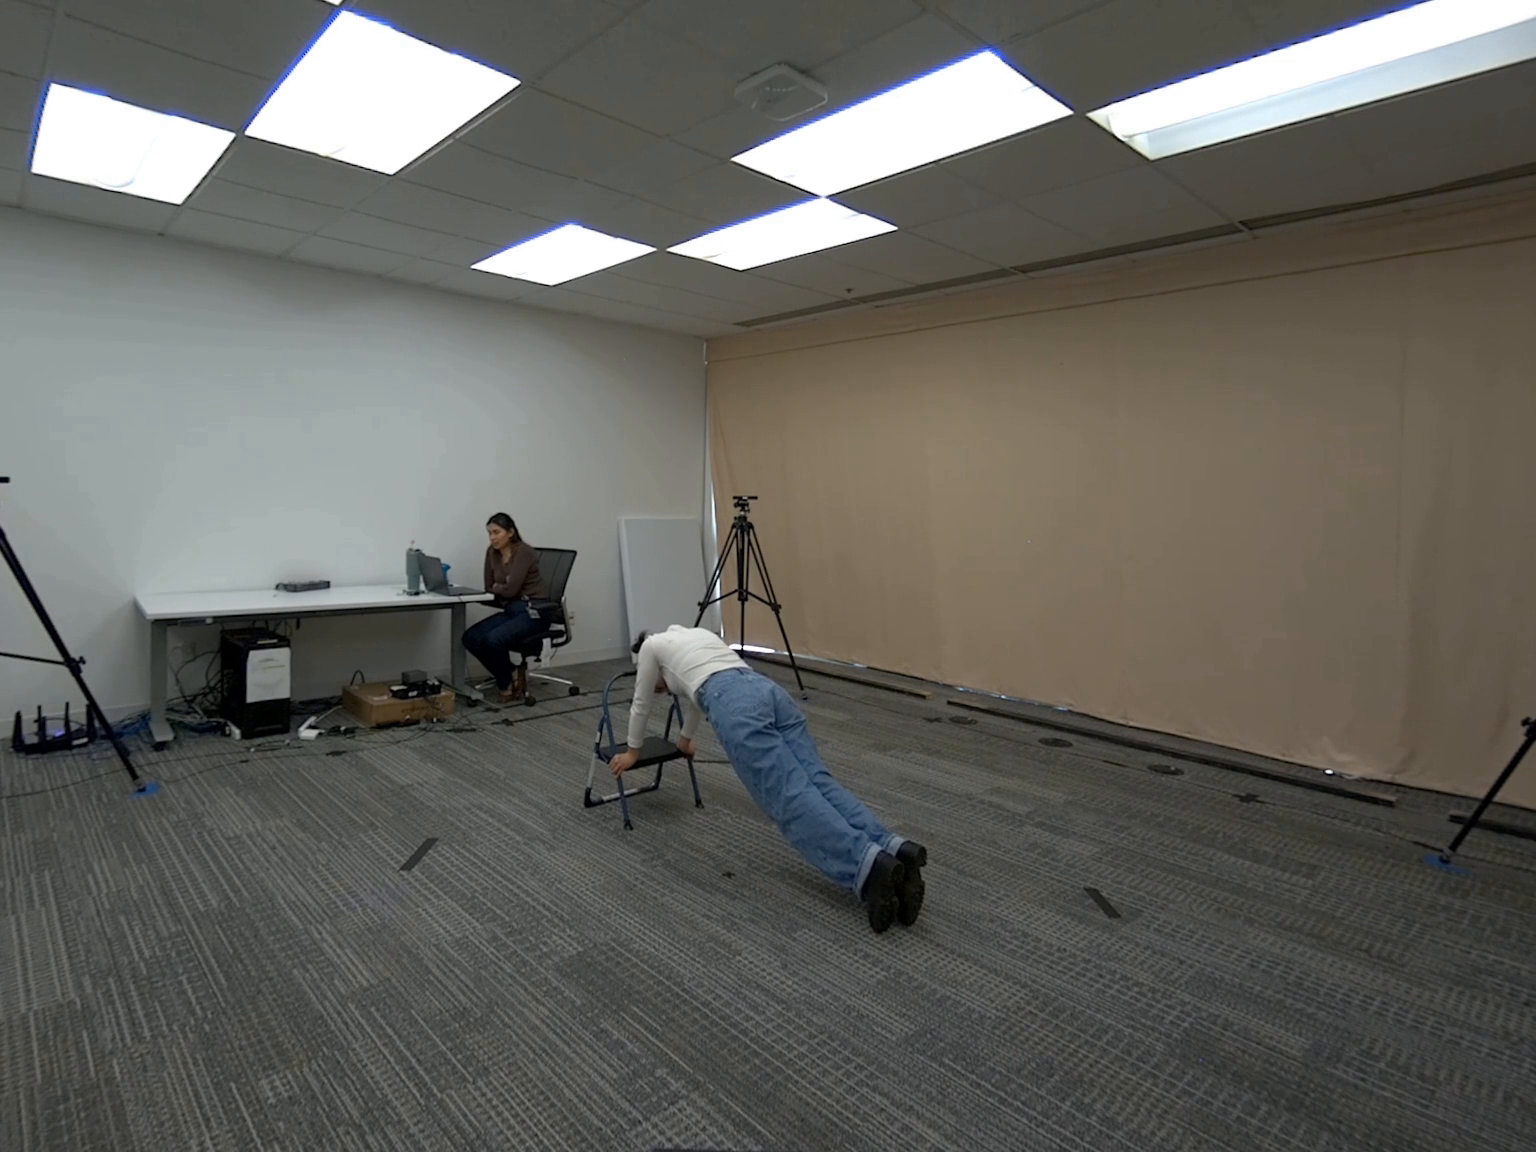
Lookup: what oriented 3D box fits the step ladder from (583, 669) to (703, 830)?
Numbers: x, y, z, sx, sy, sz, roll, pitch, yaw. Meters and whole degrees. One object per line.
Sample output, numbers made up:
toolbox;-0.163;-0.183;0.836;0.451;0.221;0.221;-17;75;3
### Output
step ladder;-0.558;0.737;3.755;0.421;0.605;0.358;-2;5;-45
